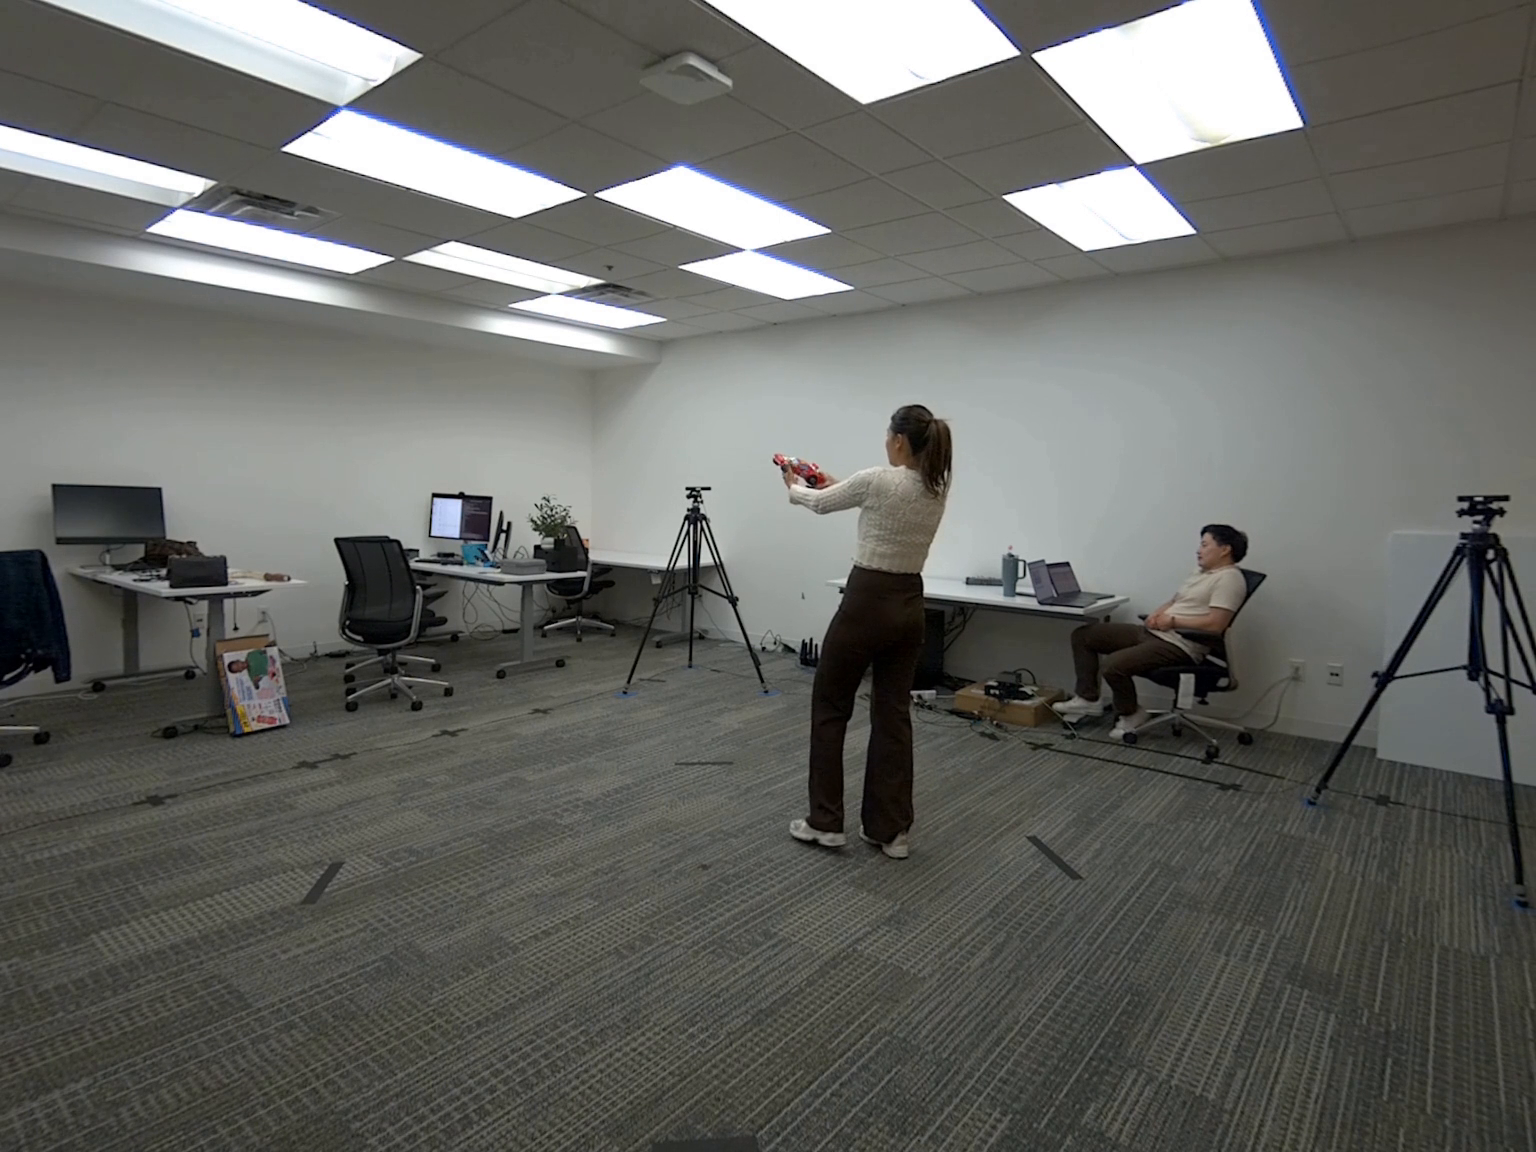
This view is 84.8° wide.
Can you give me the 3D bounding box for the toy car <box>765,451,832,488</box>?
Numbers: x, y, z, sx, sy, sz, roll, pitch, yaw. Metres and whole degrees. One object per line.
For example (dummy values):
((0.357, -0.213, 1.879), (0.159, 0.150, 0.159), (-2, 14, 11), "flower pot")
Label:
((0.133, -0.472, 3.764), (0.247, 0.082, 0.135), (10, 24, -26), "toy car")
